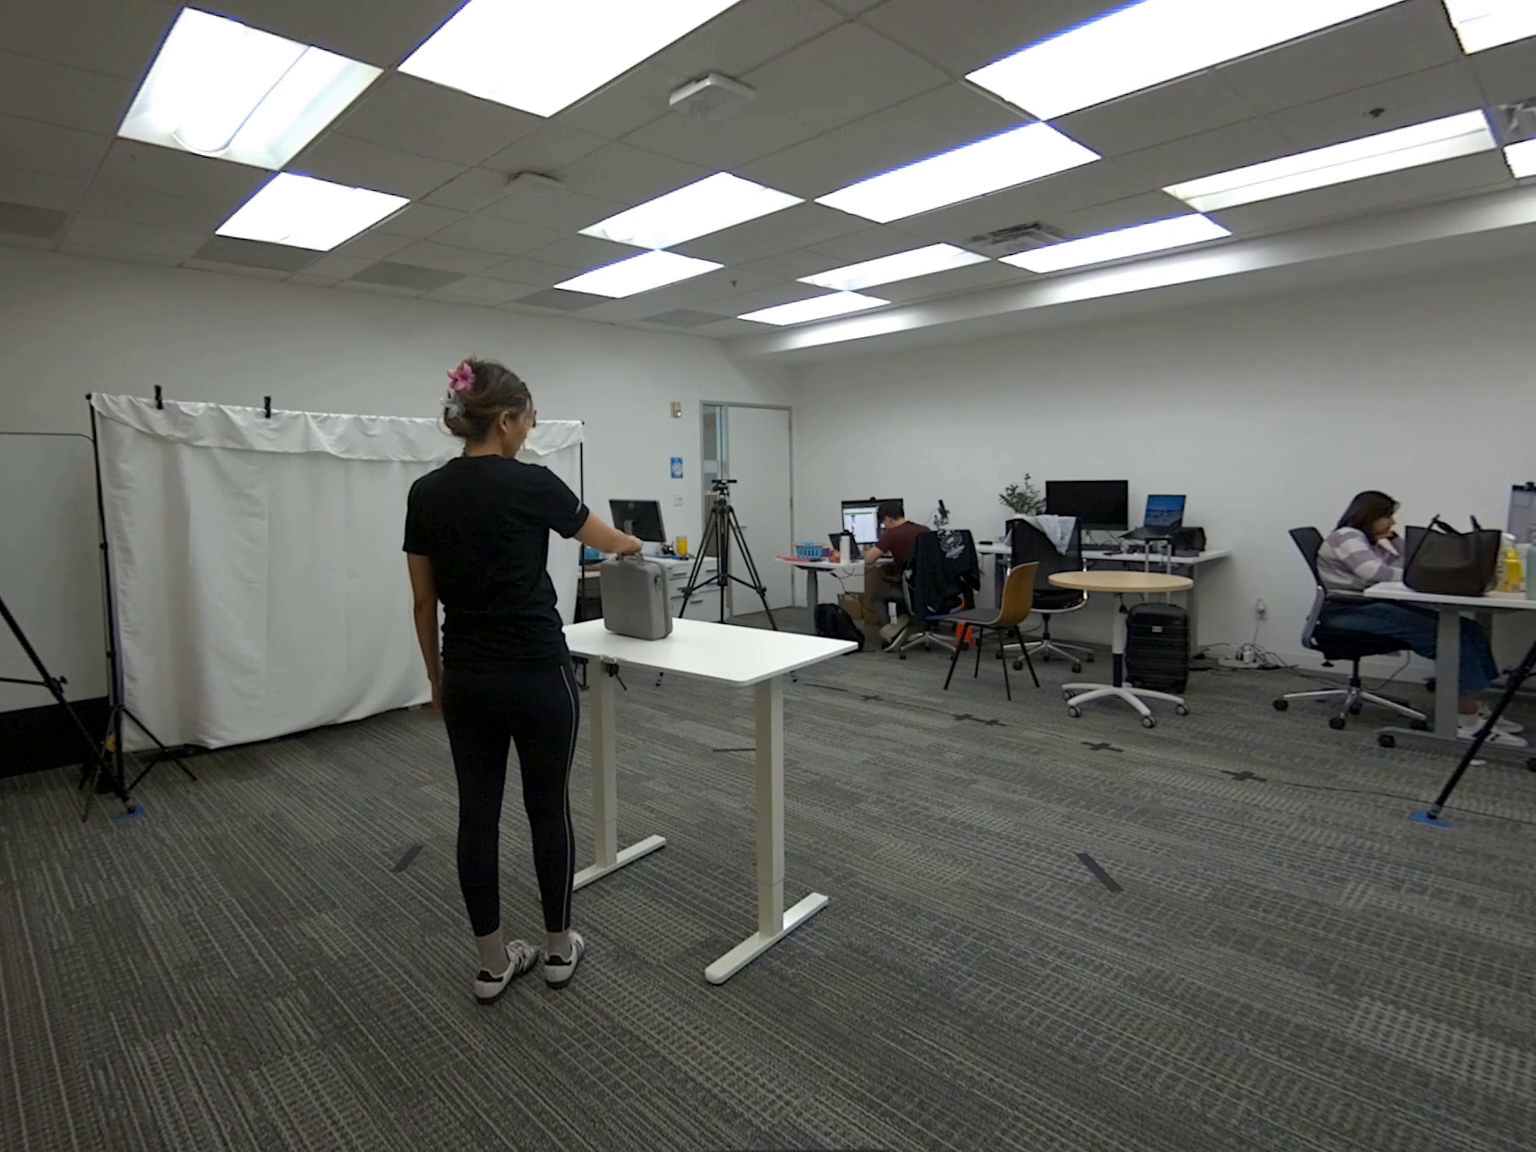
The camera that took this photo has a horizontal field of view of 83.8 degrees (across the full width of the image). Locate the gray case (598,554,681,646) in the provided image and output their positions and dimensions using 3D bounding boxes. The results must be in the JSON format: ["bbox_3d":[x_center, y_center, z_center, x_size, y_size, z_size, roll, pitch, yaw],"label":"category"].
[{"bbox_3d":[-0.429,0.068,2.839,0.265,0.258,0.102,7,14,41],"label":"gray case"}]
